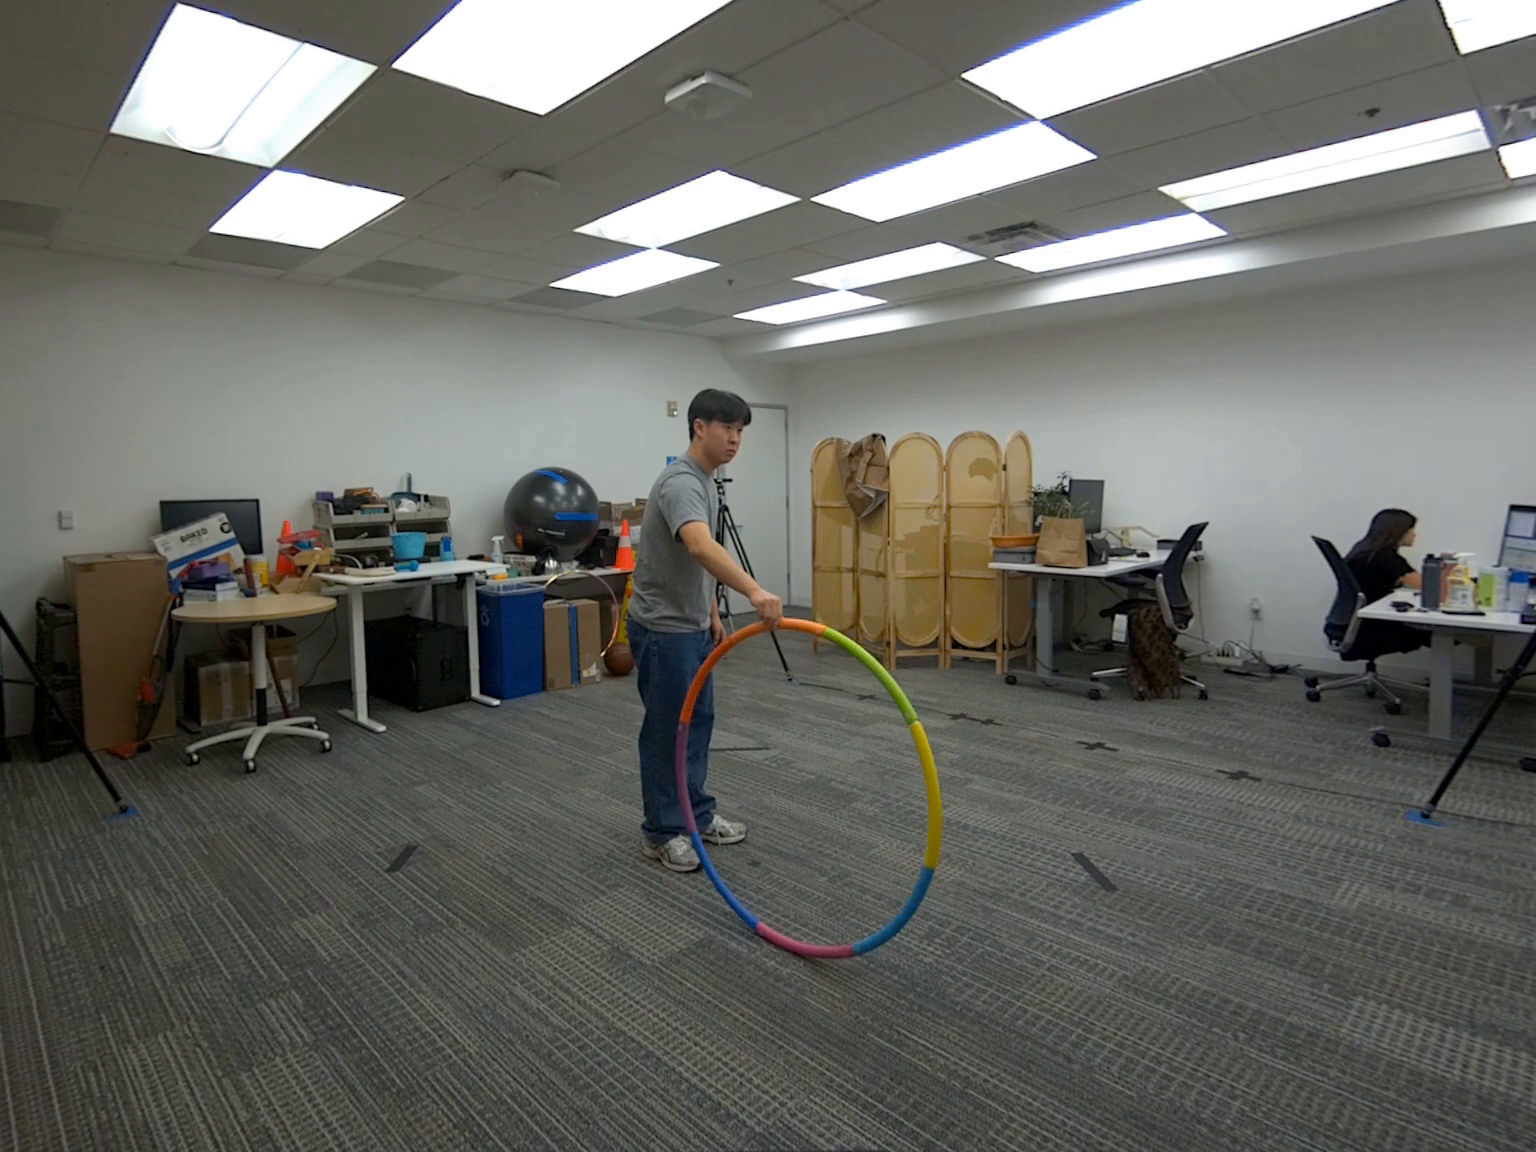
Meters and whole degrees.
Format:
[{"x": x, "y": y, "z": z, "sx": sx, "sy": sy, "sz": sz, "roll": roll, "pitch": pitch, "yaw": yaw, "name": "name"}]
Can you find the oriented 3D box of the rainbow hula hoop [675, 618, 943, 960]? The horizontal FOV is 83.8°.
[{"x": 0.068, "y": 0.622, "z": 2.555, "sx": 1.009, "sy": 0.979, "sz": 0.034, "roll": 4, "pitch": 0, "yaw": 43, "name": "rainbow hula hoop"}]
